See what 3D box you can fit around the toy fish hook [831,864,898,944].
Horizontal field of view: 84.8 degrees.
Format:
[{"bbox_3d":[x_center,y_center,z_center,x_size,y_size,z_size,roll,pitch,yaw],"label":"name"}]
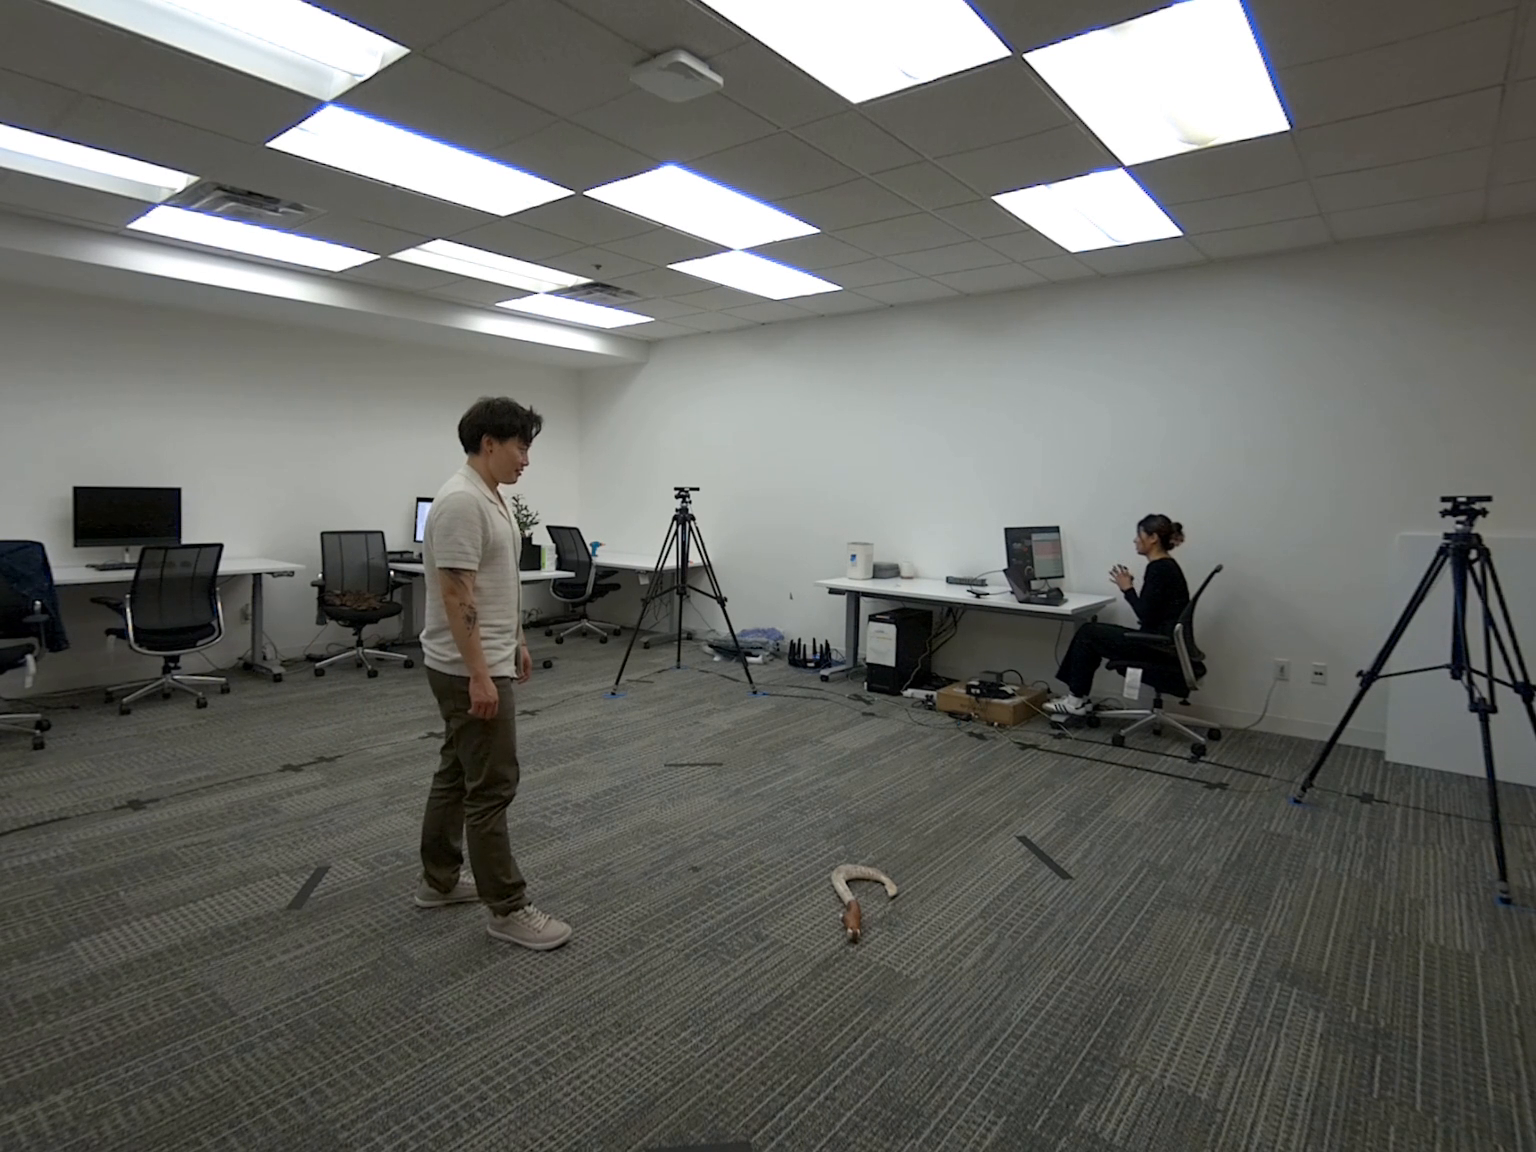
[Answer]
[{"bbox_3d":[0.322,1.082,2.841,0.226,0.048,0.506,0,6,4],"label":"toy fish hook"}]
